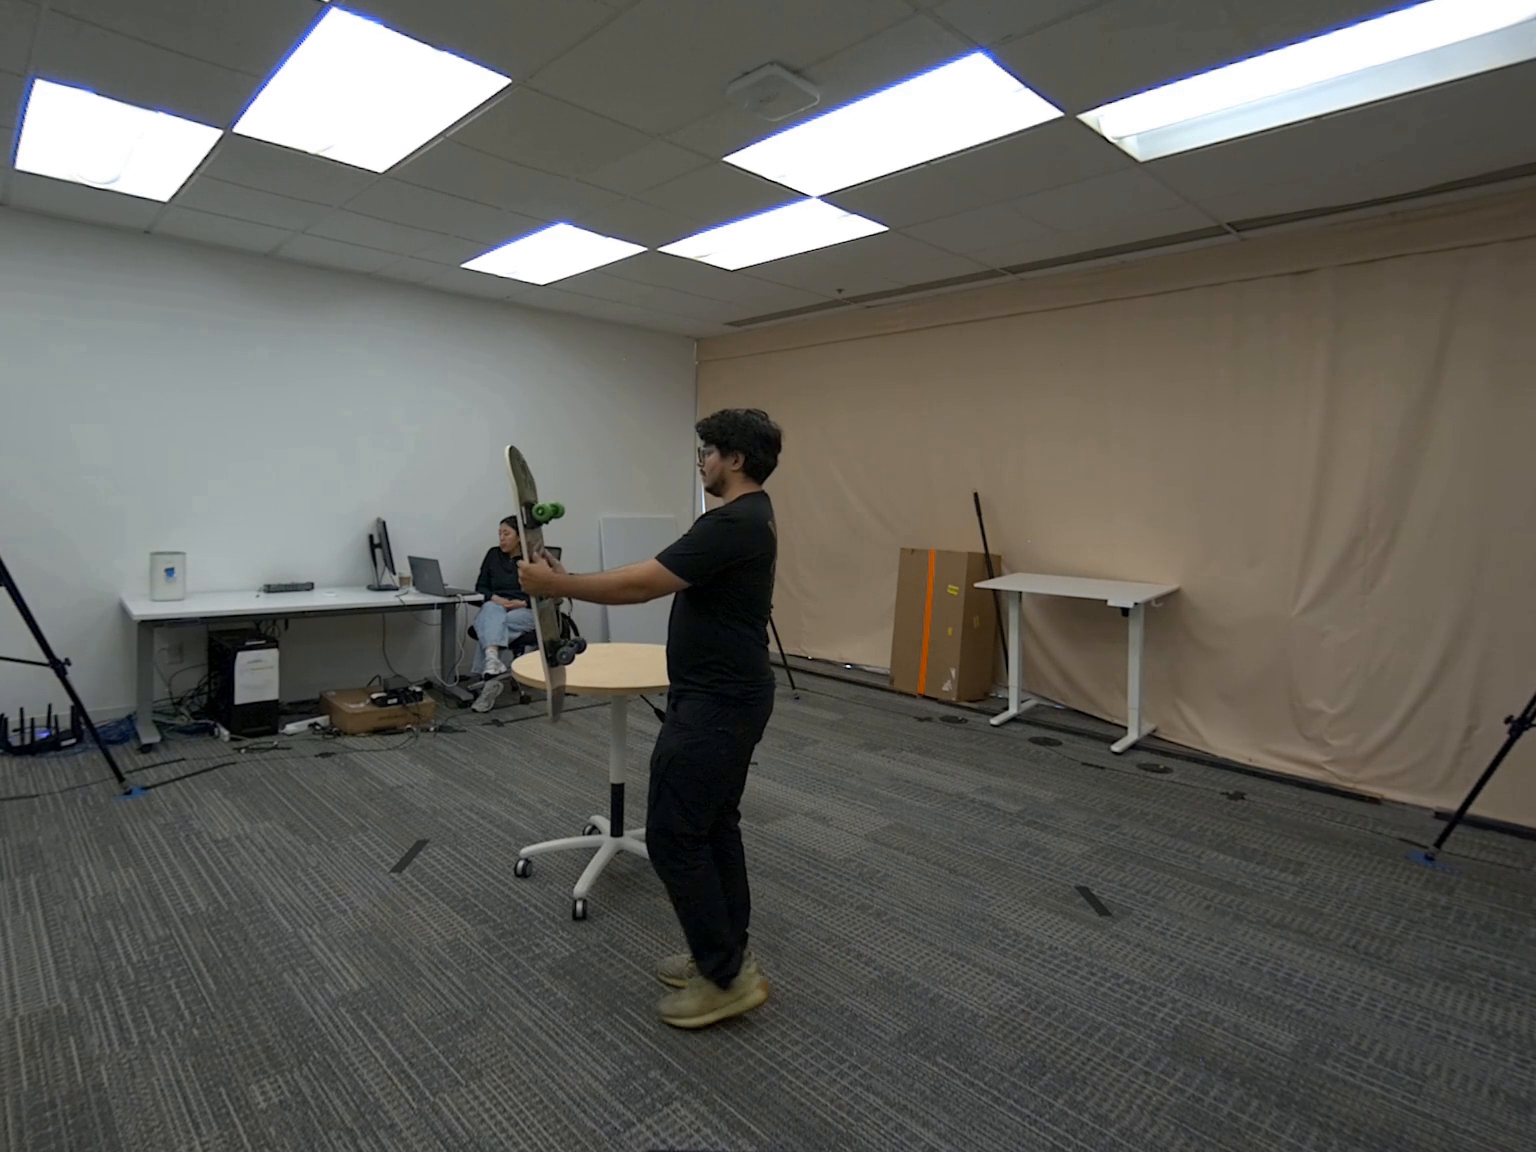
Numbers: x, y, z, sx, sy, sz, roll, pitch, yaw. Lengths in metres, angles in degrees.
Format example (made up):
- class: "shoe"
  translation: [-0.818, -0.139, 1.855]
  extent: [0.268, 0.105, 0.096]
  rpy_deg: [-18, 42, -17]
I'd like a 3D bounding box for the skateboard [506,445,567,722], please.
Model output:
- class: "skateboard"
  translation: [-0.611, 0.023, 2.362]
  extent: [0.110, 0.782, 0.194]
  rpy_deg: [-9, 5, -1]
